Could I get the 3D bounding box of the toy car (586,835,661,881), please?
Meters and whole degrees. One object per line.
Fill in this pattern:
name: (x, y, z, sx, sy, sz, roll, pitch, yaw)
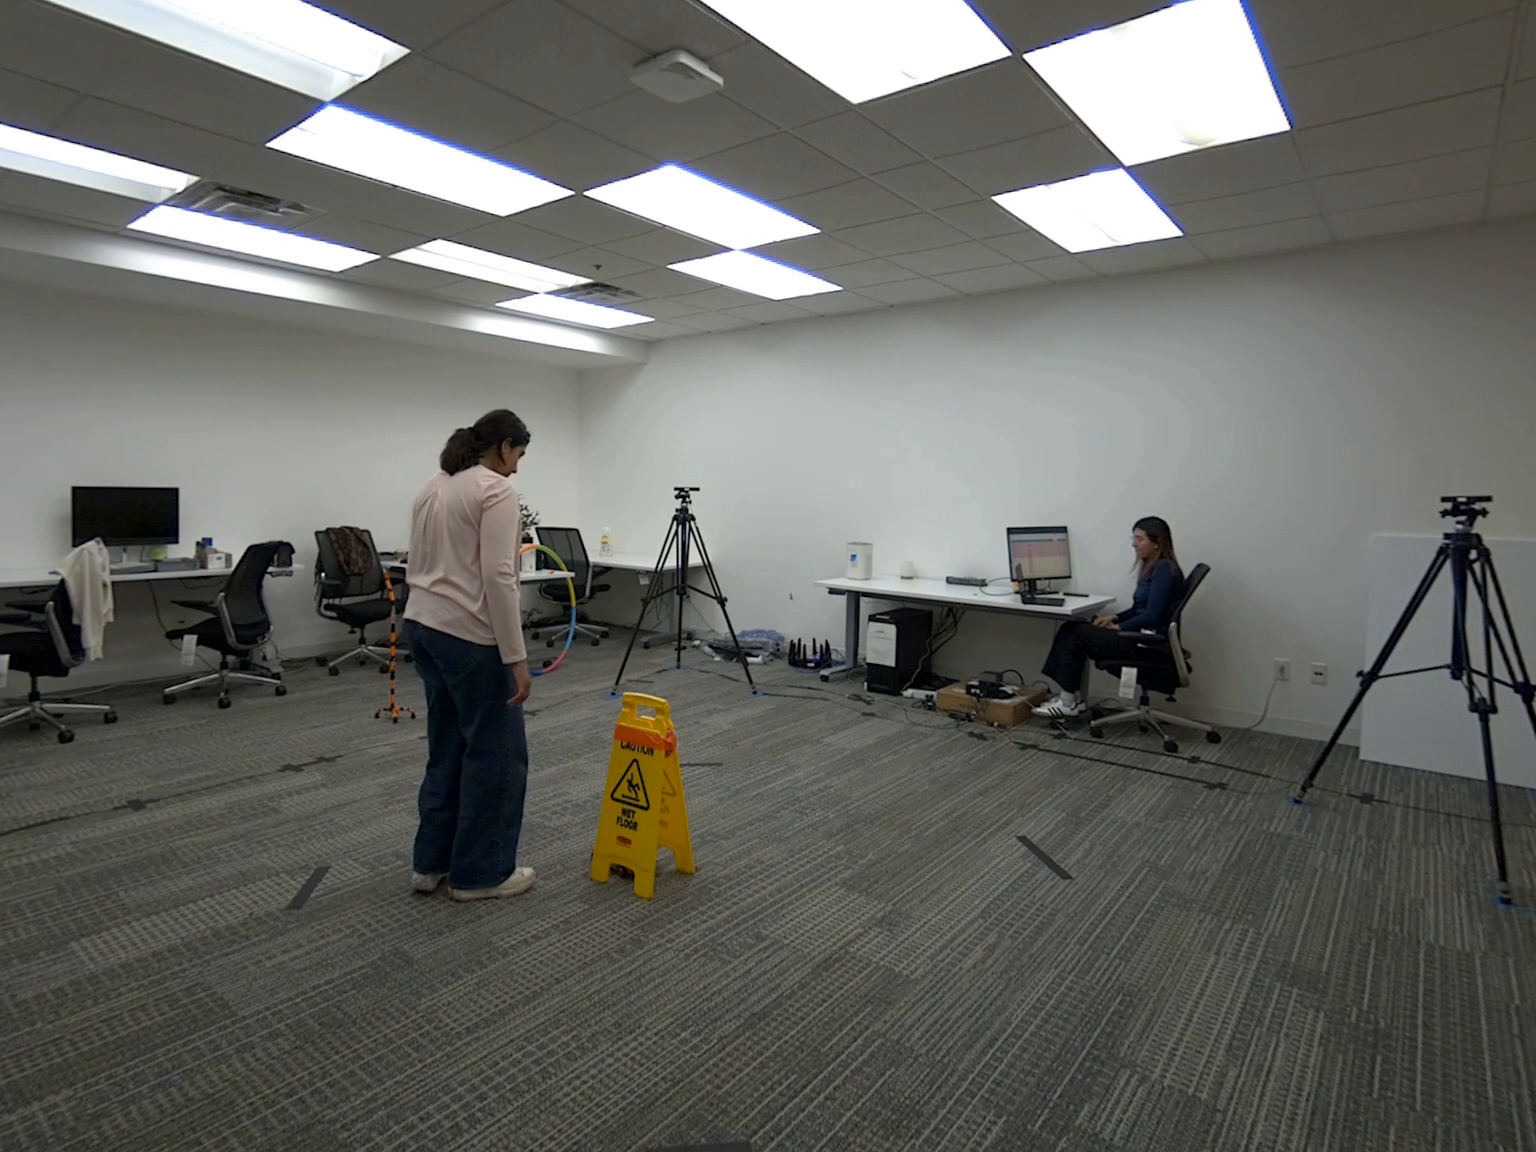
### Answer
toy car: (-0.537, 1.032, 3.093, 0.262, 0.083, 0.126, -5, -1, 40)
